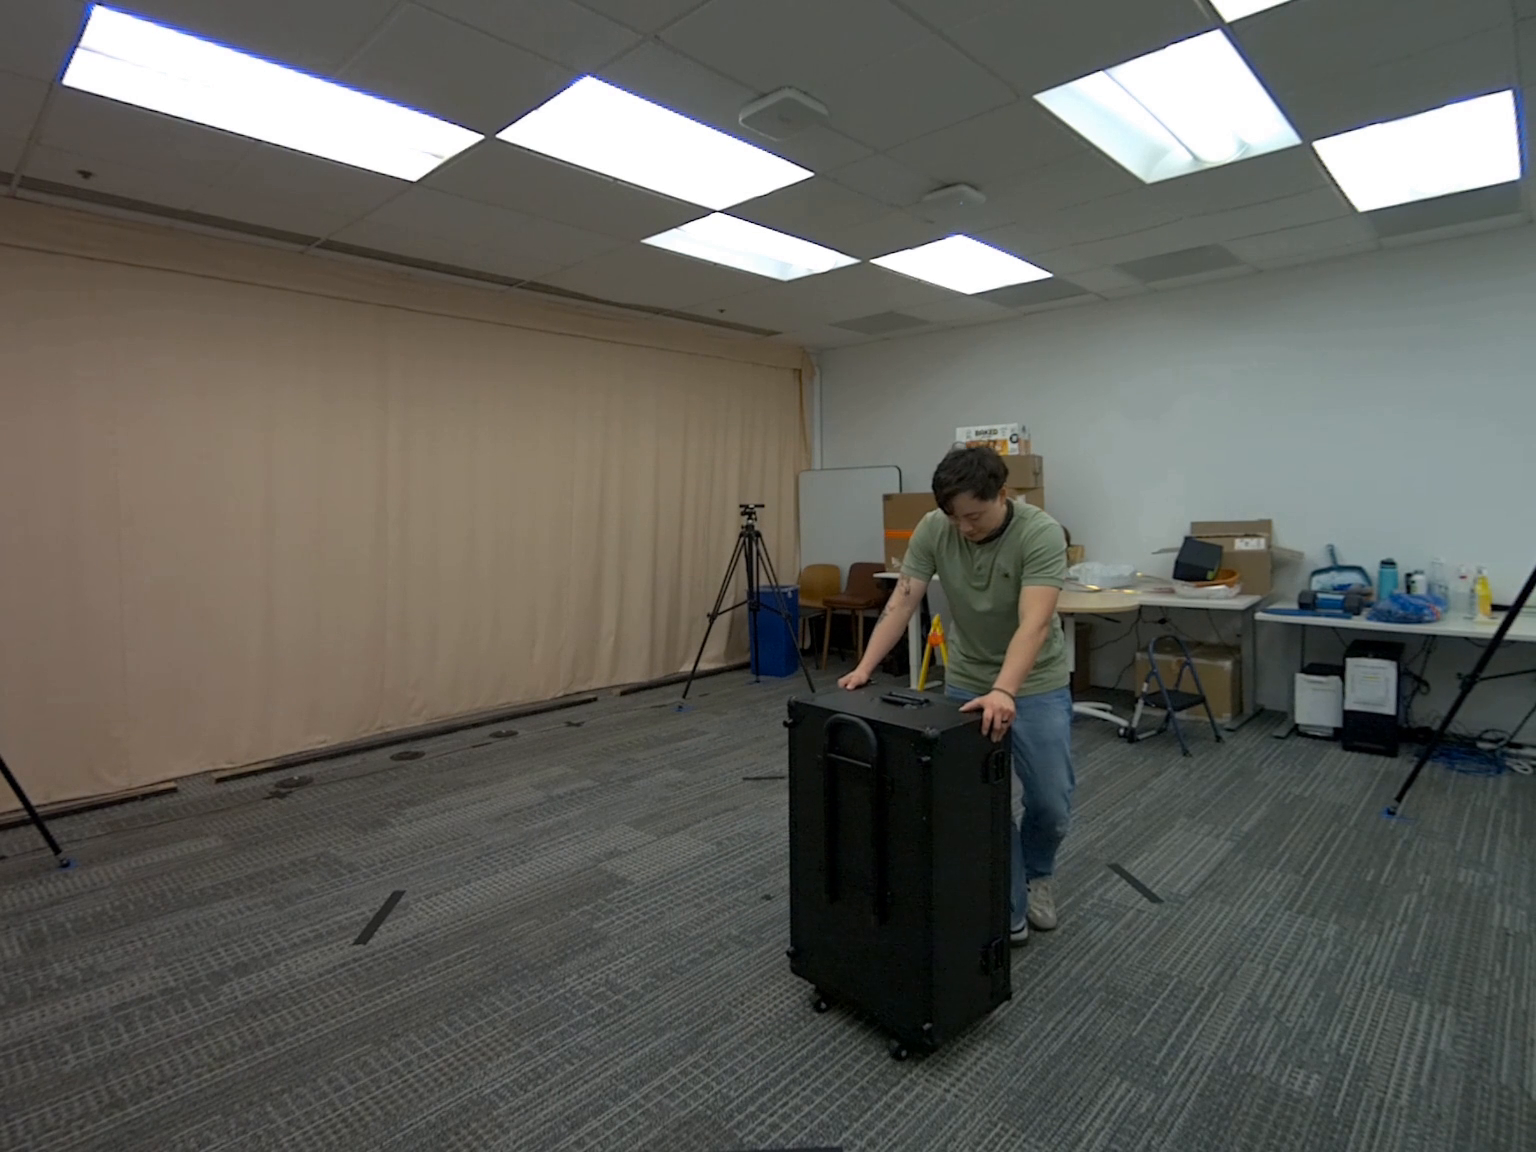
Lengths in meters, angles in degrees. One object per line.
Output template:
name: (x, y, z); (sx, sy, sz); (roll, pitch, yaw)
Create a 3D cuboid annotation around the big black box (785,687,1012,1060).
big black box: (0.349, 0.771, 2.269); (0.384, 0.859, 0.538); (-5, 5, -43)
